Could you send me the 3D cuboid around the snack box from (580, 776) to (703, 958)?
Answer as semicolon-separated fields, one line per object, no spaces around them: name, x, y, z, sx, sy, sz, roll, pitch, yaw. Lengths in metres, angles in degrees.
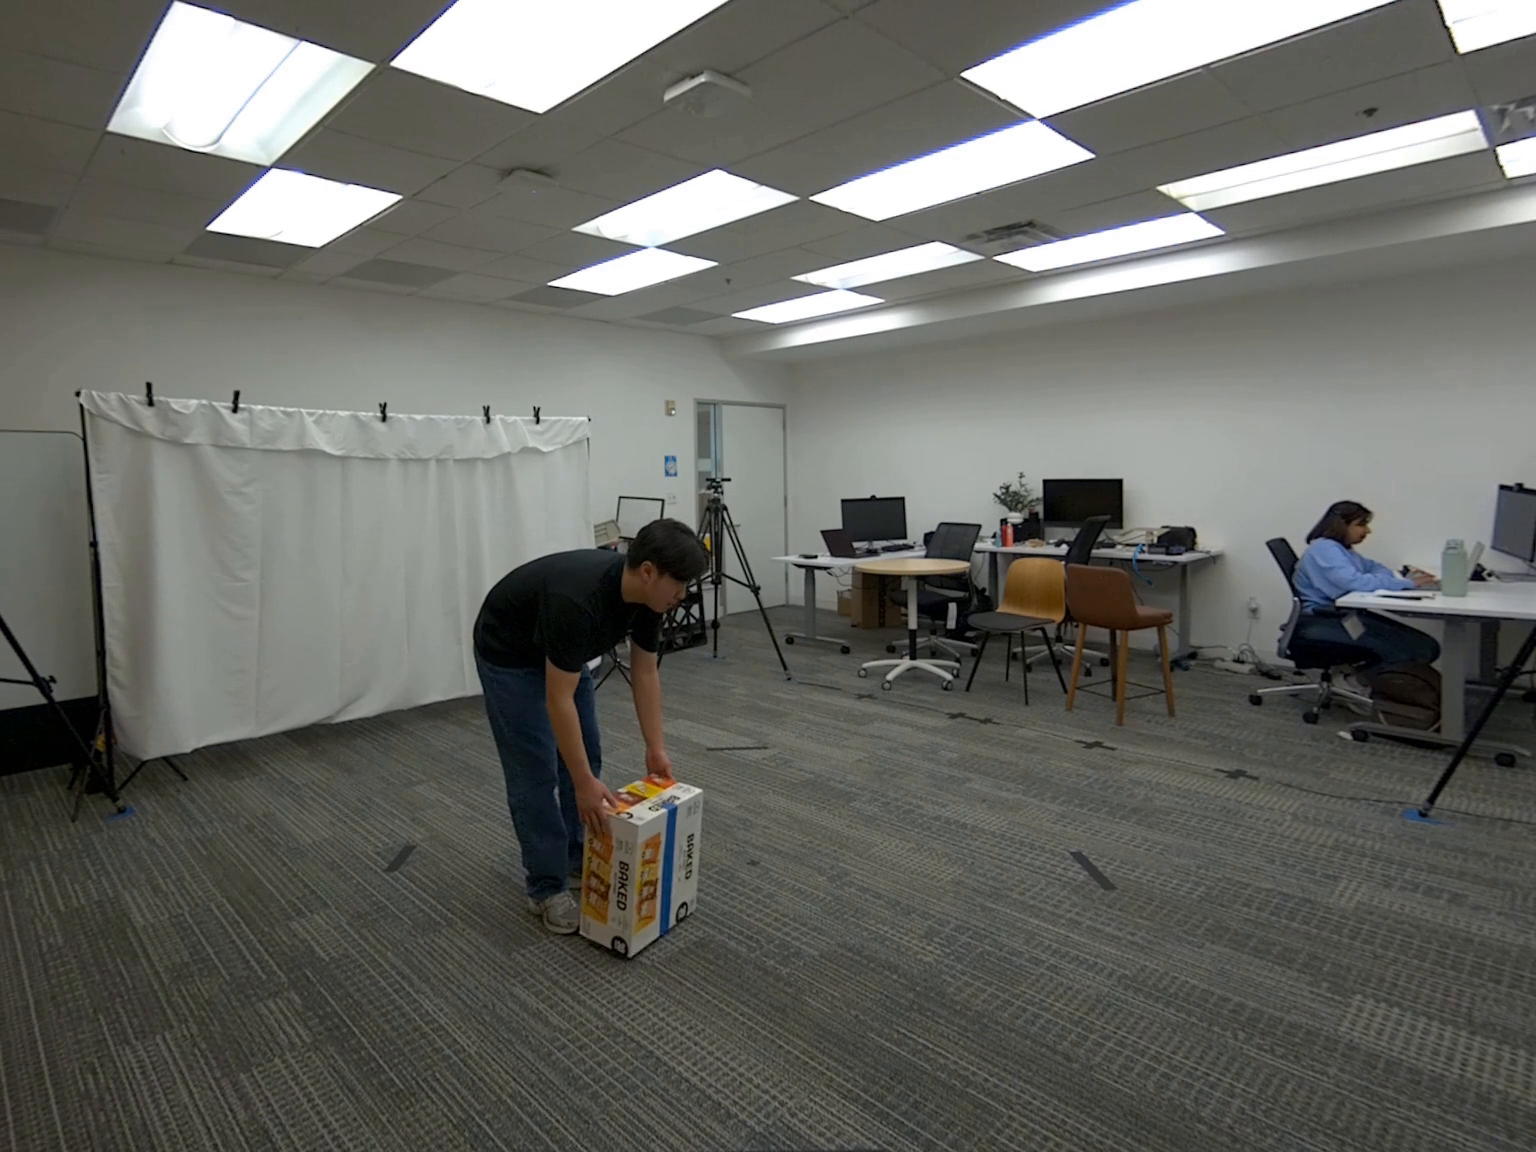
snack box;-0.384;0.873;2.646;0.211;0.403;0.333;6;7;29
